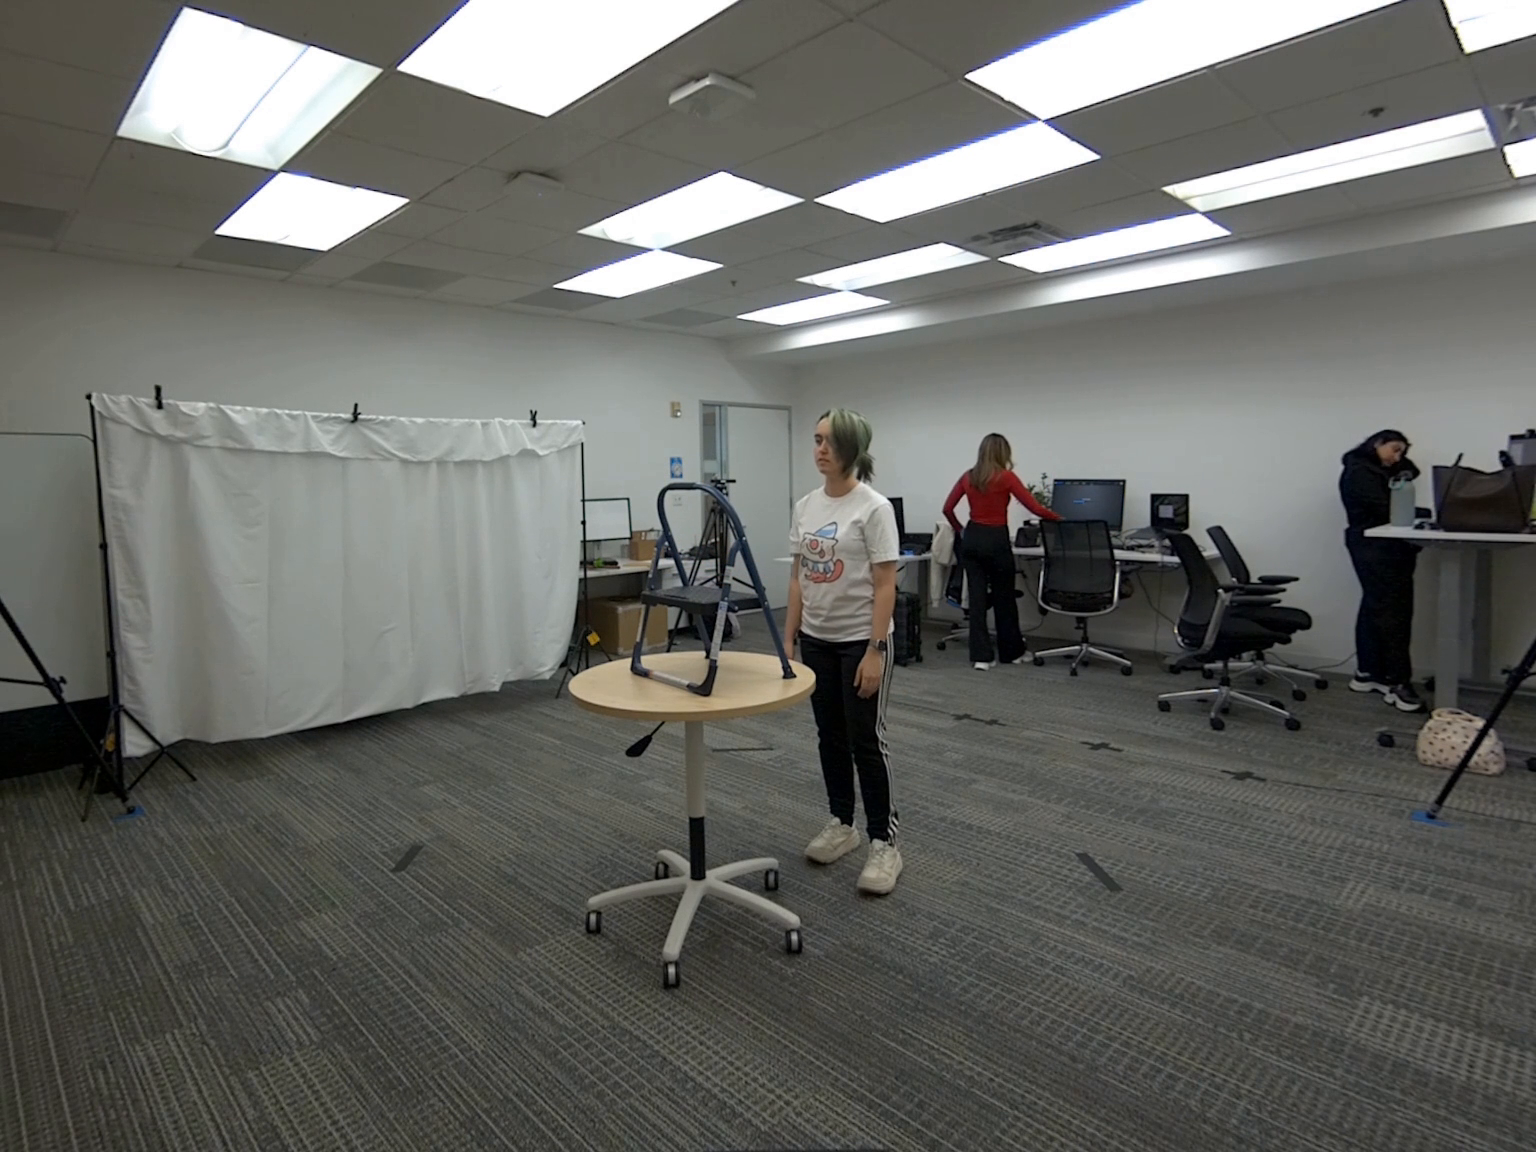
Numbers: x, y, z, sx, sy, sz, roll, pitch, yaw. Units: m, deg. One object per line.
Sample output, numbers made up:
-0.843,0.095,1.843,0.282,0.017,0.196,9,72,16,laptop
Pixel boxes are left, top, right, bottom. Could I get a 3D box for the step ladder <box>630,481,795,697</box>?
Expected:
-0.187,0.014,2.666,0.340,0.604,0.444,-5,6,-40,step ladder
